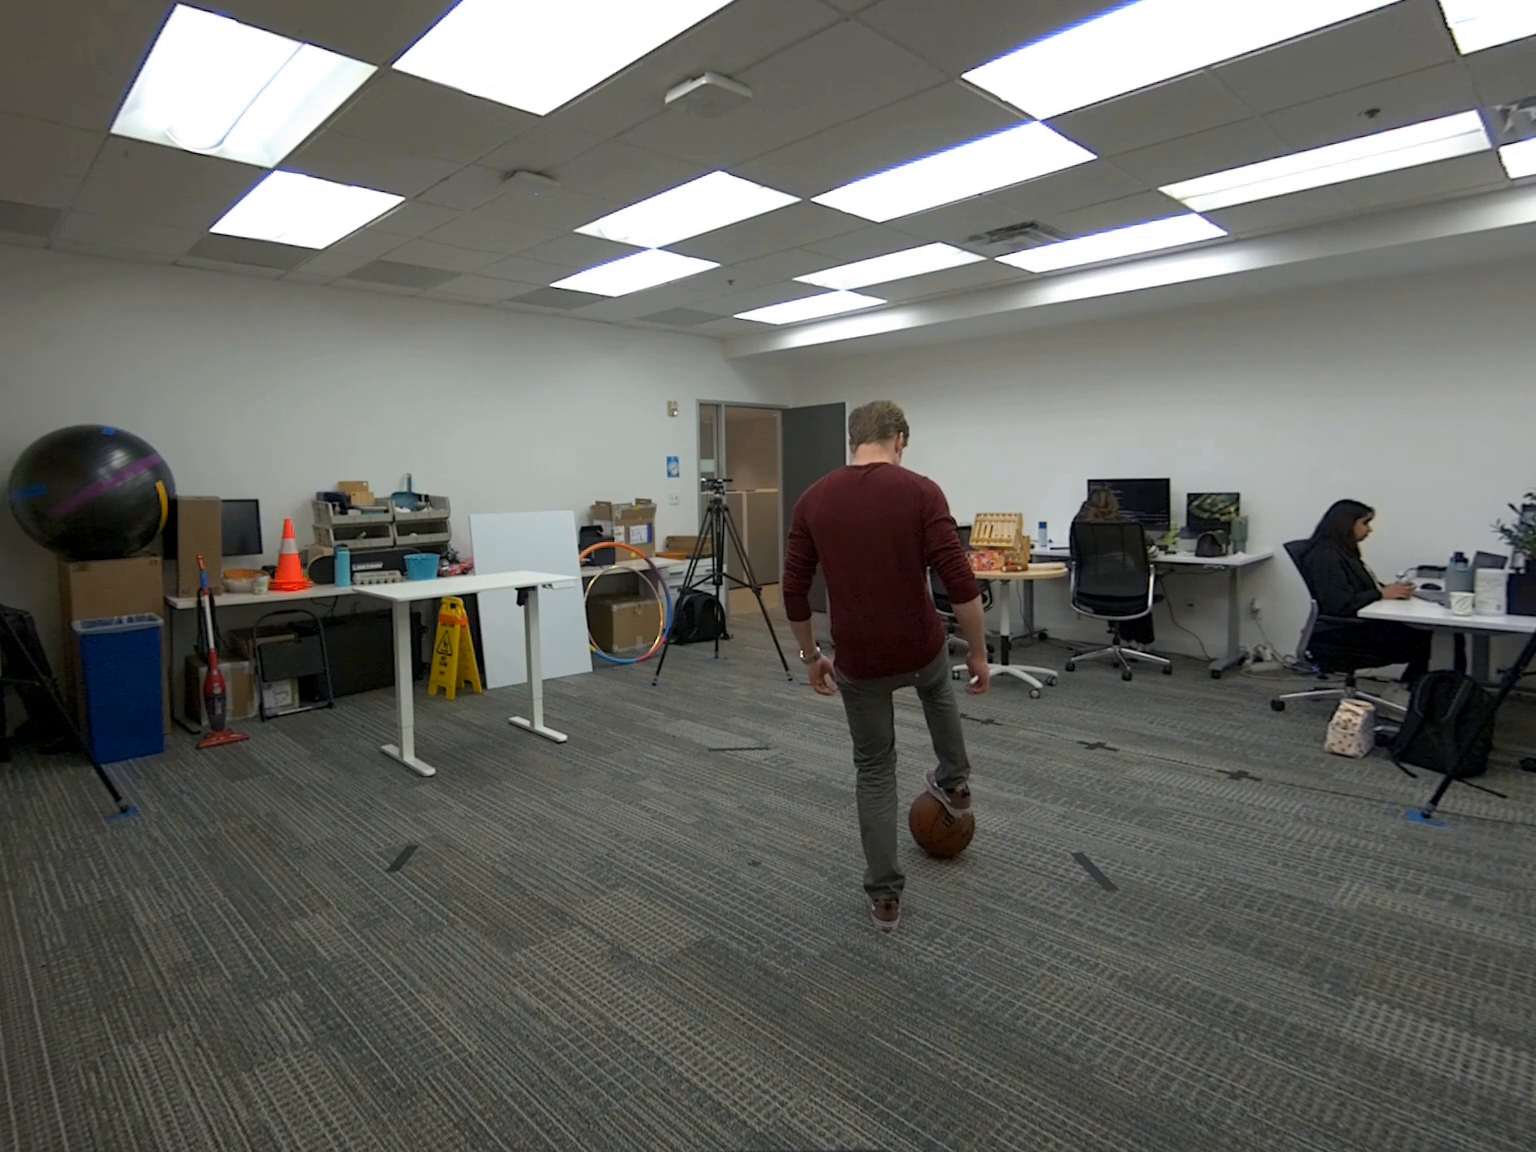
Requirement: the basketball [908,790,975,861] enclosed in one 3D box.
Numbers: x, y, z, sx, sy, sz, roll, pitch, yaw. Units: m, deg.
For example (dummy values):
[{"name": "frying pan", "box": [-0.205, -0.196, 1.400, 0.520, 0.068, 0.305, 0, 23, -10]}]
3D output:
[{"name": "basketball", "box": [0.641, 0.908, 3.161, 0.236, 0.235, 0.237, -1, 5, -2]}]
